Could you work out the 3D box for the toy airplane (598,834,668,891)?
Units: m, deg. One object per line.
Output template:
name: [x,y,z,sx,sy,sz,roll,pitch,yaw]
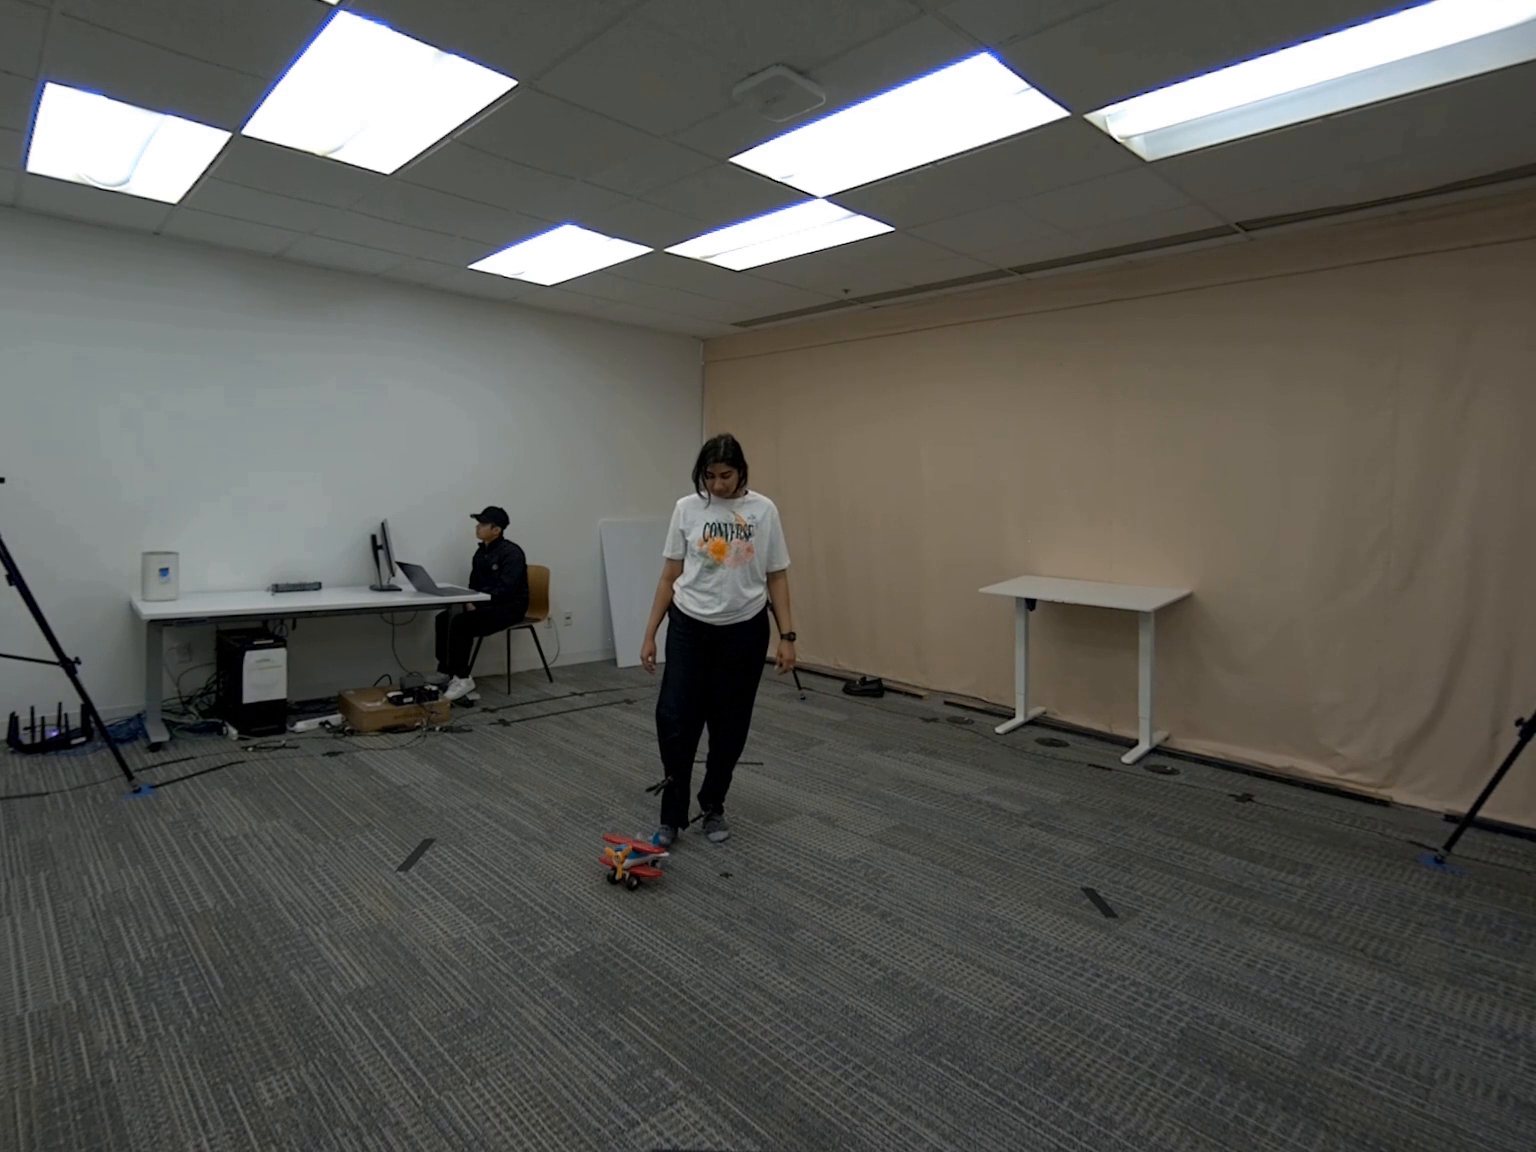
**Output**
toy airplane: [-0.497,1.022,3.076,0.251,0.156,0.260,1,6,-1]
